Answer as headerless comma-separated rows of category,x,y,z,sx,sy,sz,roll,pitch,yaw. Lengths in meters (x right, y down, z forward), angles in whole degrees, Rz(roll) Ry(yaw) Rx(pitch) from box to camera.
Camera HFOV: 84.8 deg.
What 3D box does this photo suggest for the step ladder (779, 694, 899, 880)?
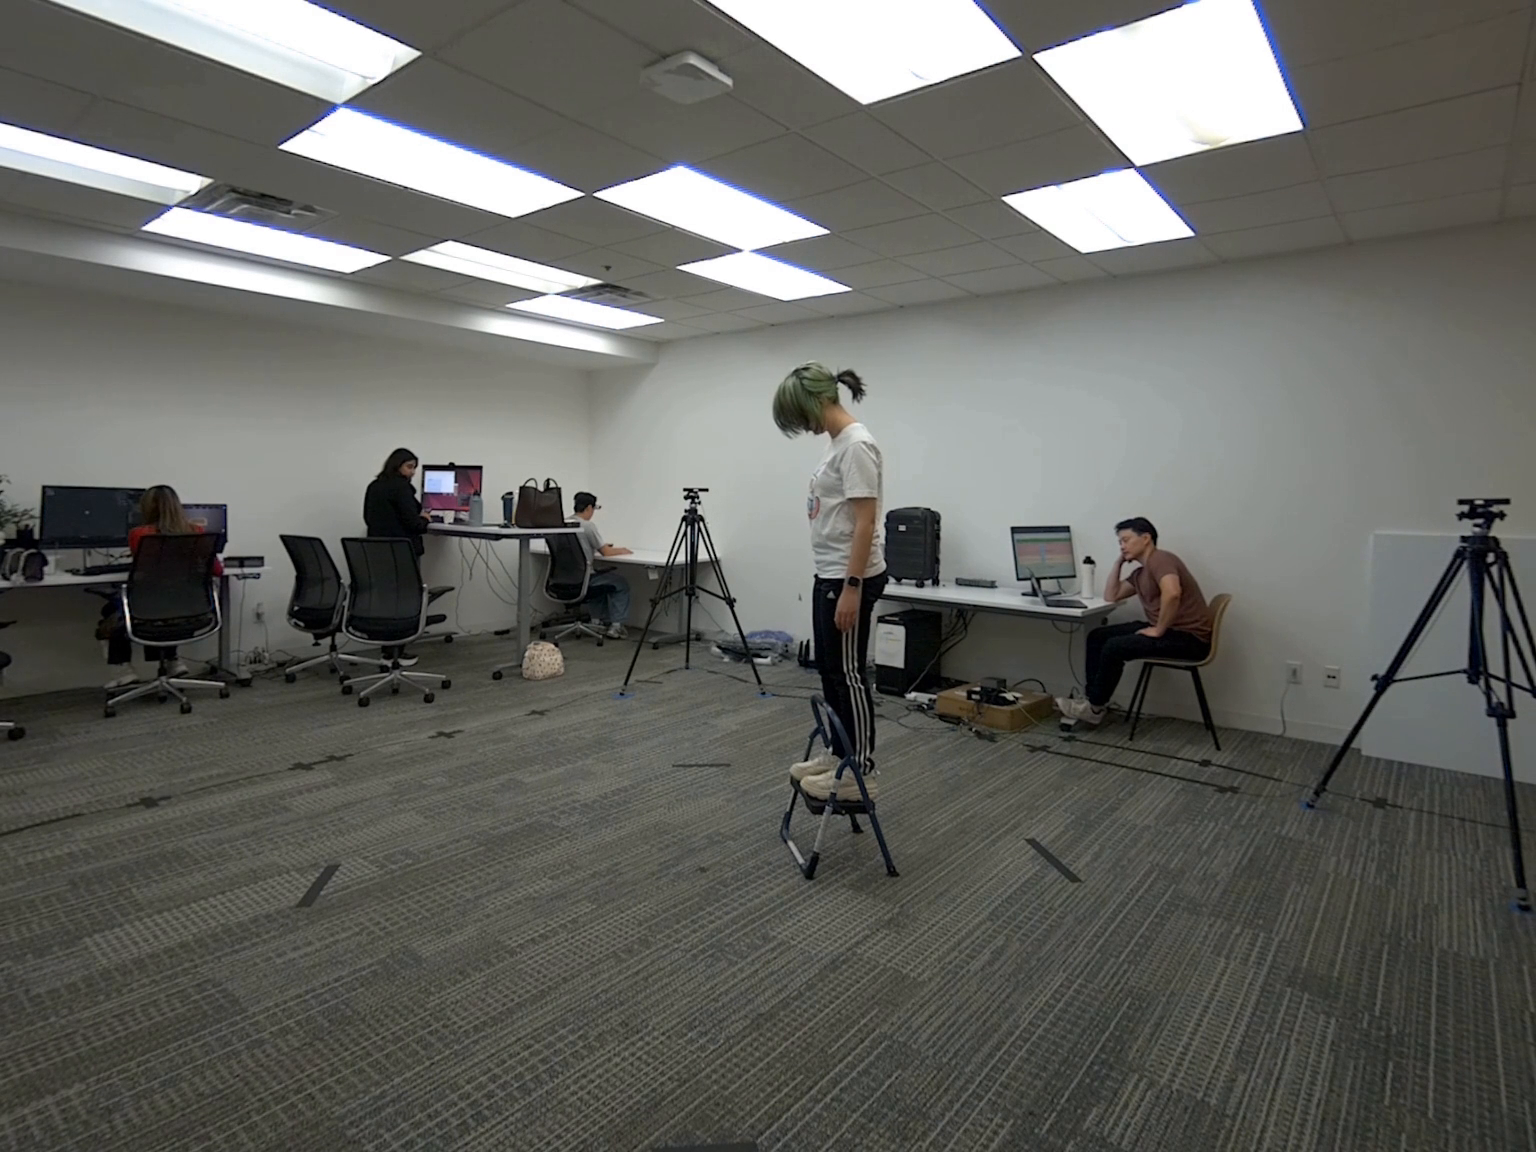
step ladder,0.259,0.767,3.254,0.345,0.604,0.437,1,4,-12
